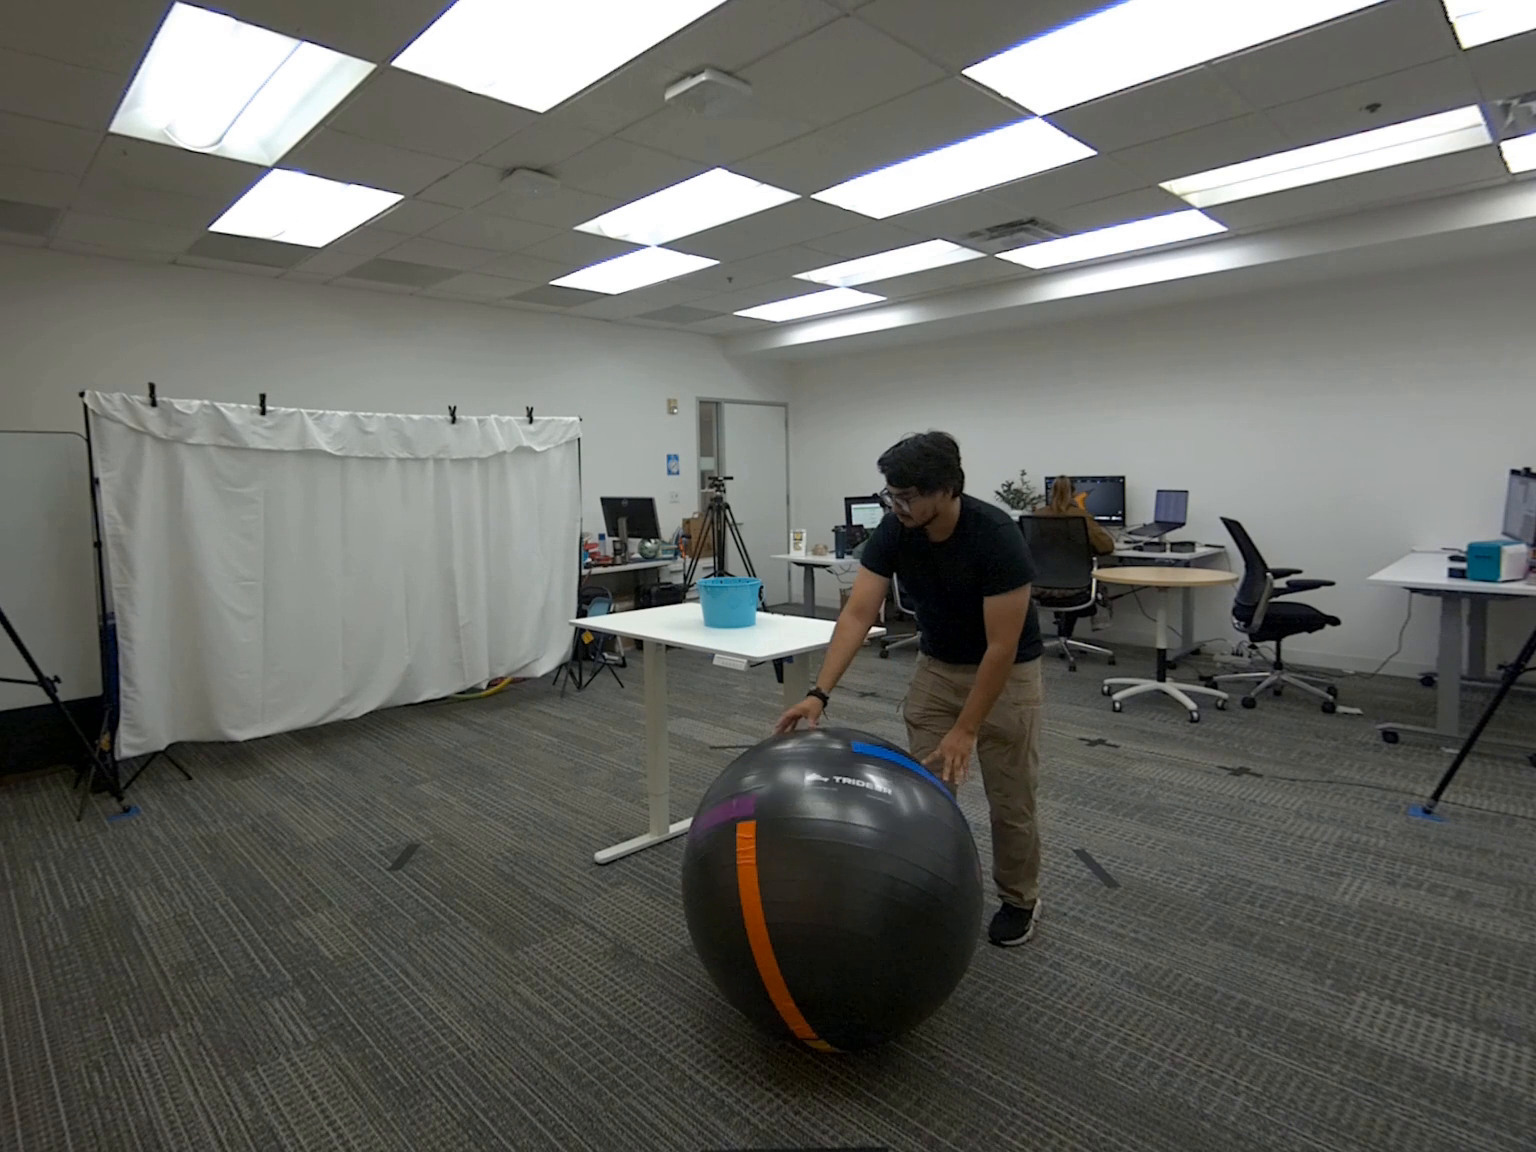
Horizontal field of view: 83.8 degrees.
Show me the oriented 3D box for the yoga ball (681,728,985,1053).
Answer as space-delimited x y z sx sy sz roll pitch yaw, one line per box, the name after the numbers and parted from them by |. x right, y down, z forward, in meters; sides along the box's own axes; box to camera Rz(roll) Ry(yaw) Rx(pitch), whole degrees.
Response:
0.164 0.783 2.176 0.757 0.755 0.762 -1 5 -2 | yoga ball
